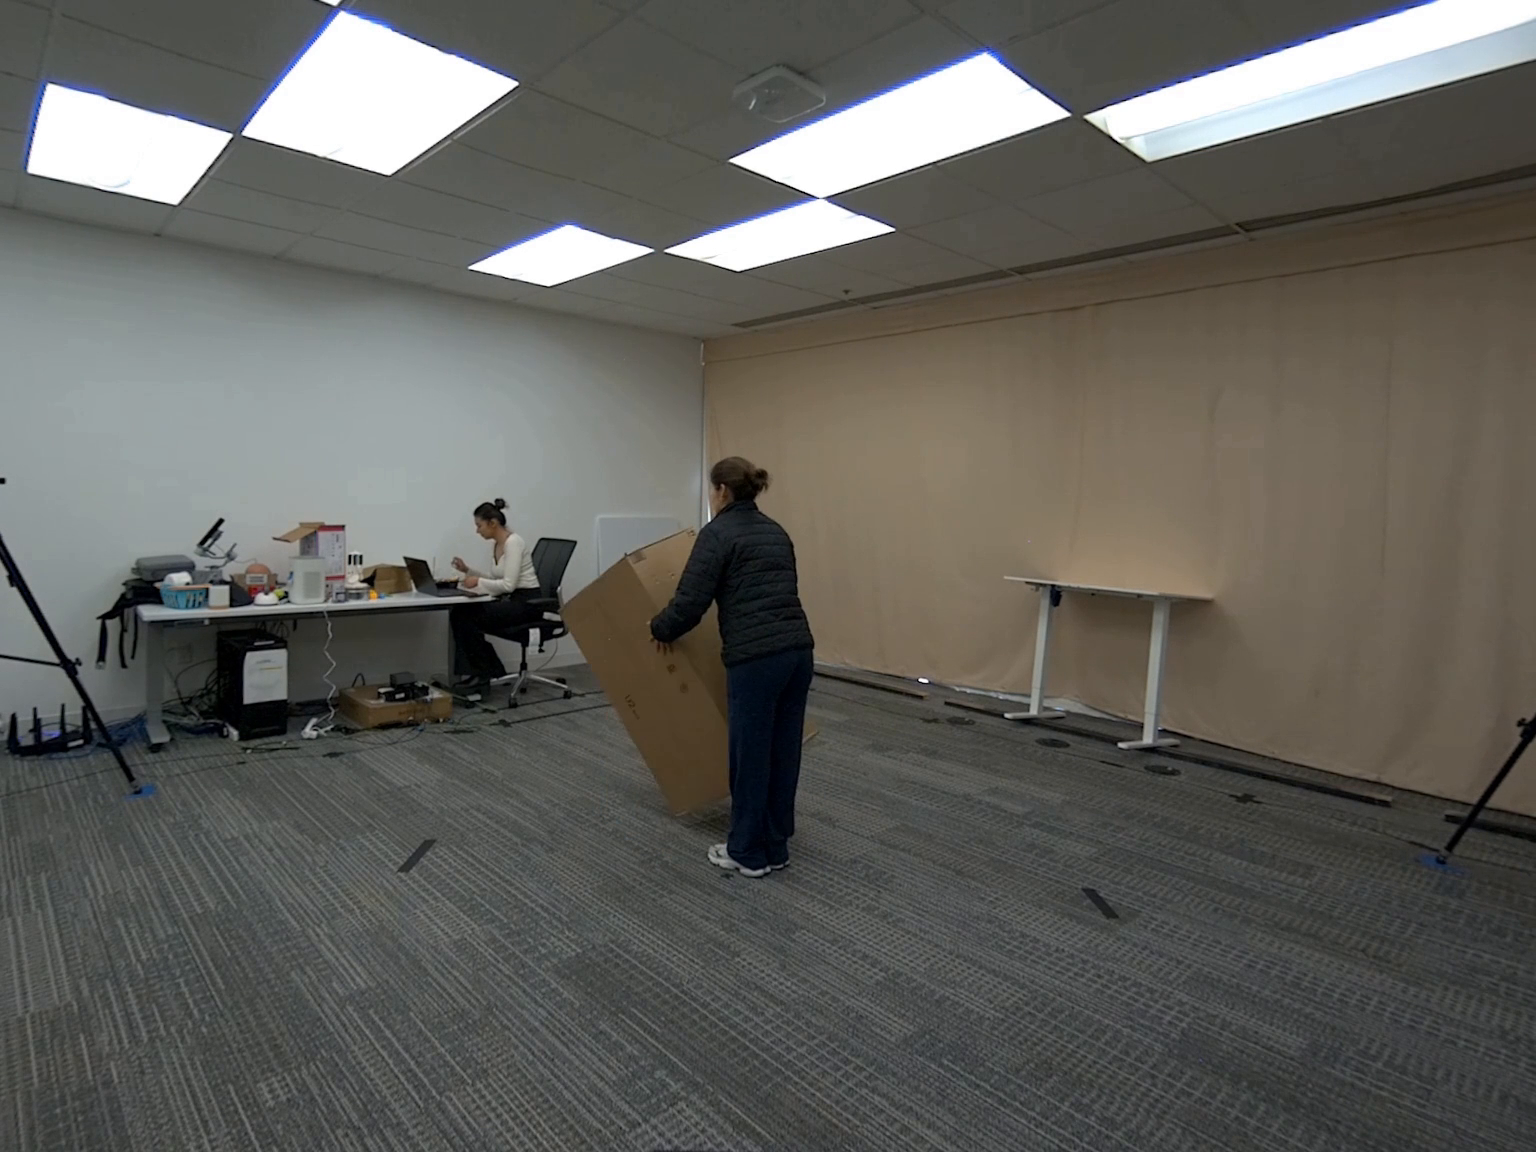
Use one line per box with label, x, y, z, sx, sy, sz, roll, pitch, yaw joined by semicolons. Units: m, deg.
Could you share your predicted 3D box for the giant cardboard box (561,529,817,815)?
giant cardboard box;-0.359;0.403;3.582;0.581;1.032;0.421;-35;-6;40
